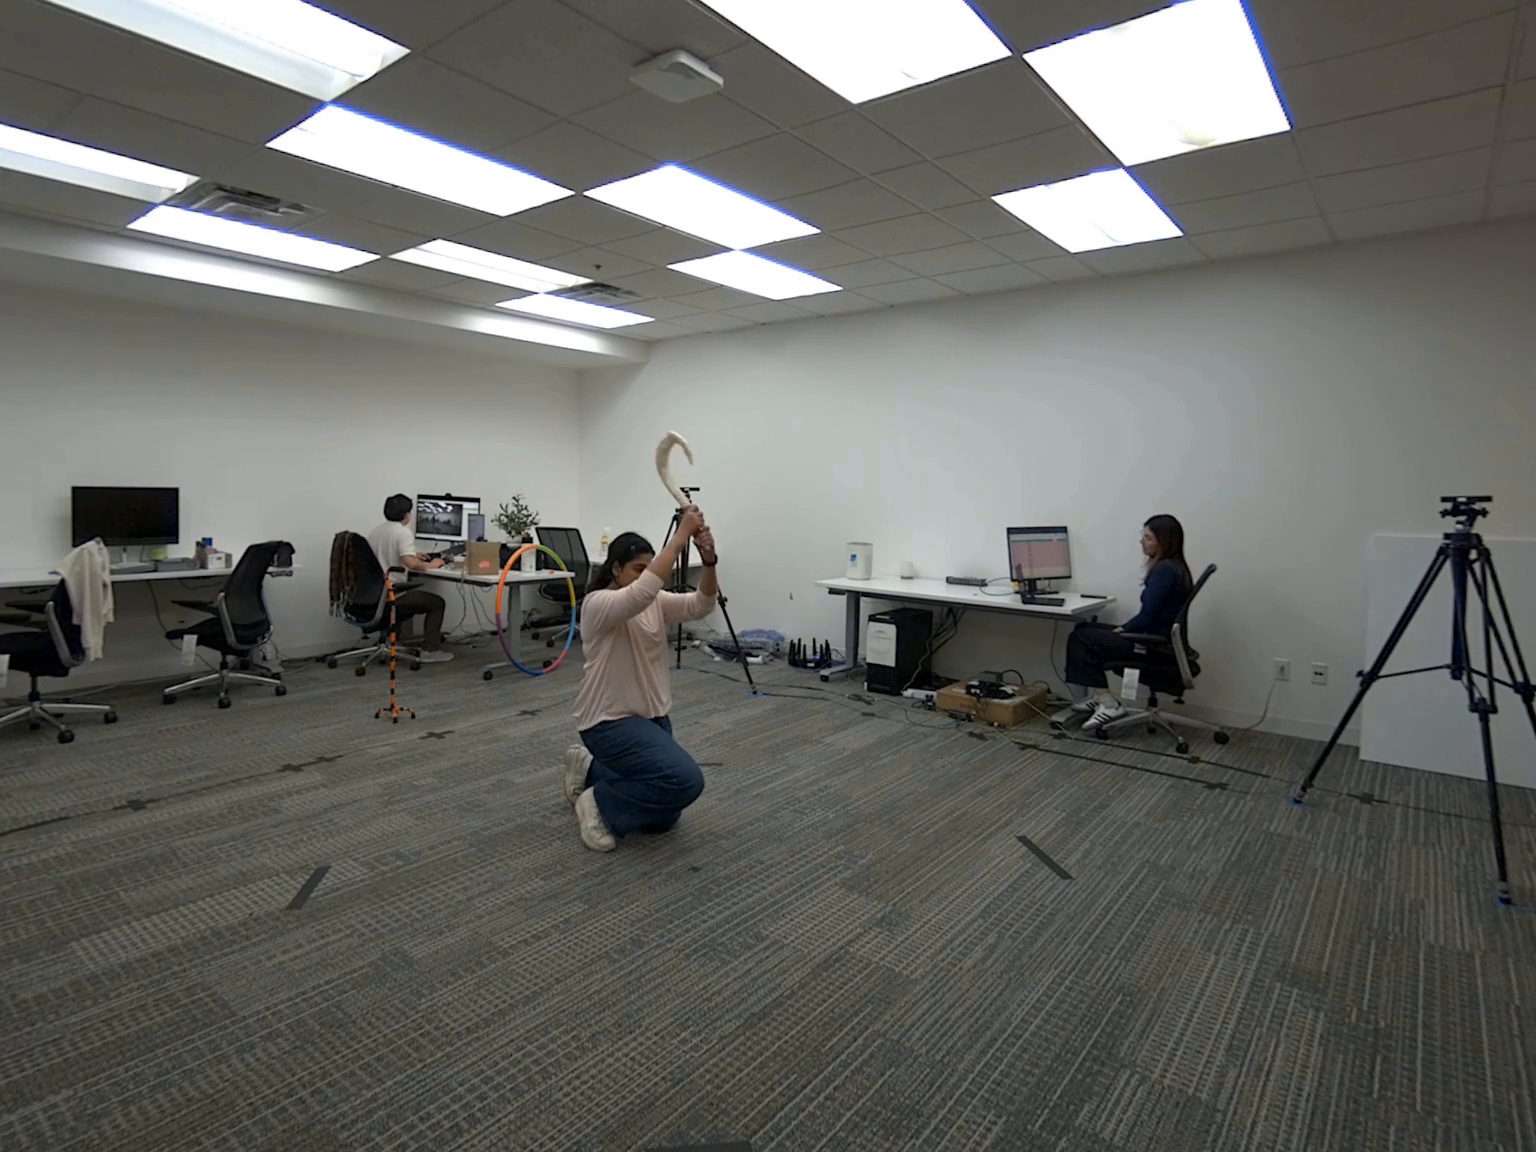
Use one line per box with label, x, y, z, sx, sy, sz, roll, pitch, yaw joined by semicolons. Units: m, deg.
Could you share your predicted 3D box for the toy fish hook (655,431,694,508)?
toy fish hook;-0.316;-0.308;3.285;0.047;0.520;0.224;-10;-26;-37
